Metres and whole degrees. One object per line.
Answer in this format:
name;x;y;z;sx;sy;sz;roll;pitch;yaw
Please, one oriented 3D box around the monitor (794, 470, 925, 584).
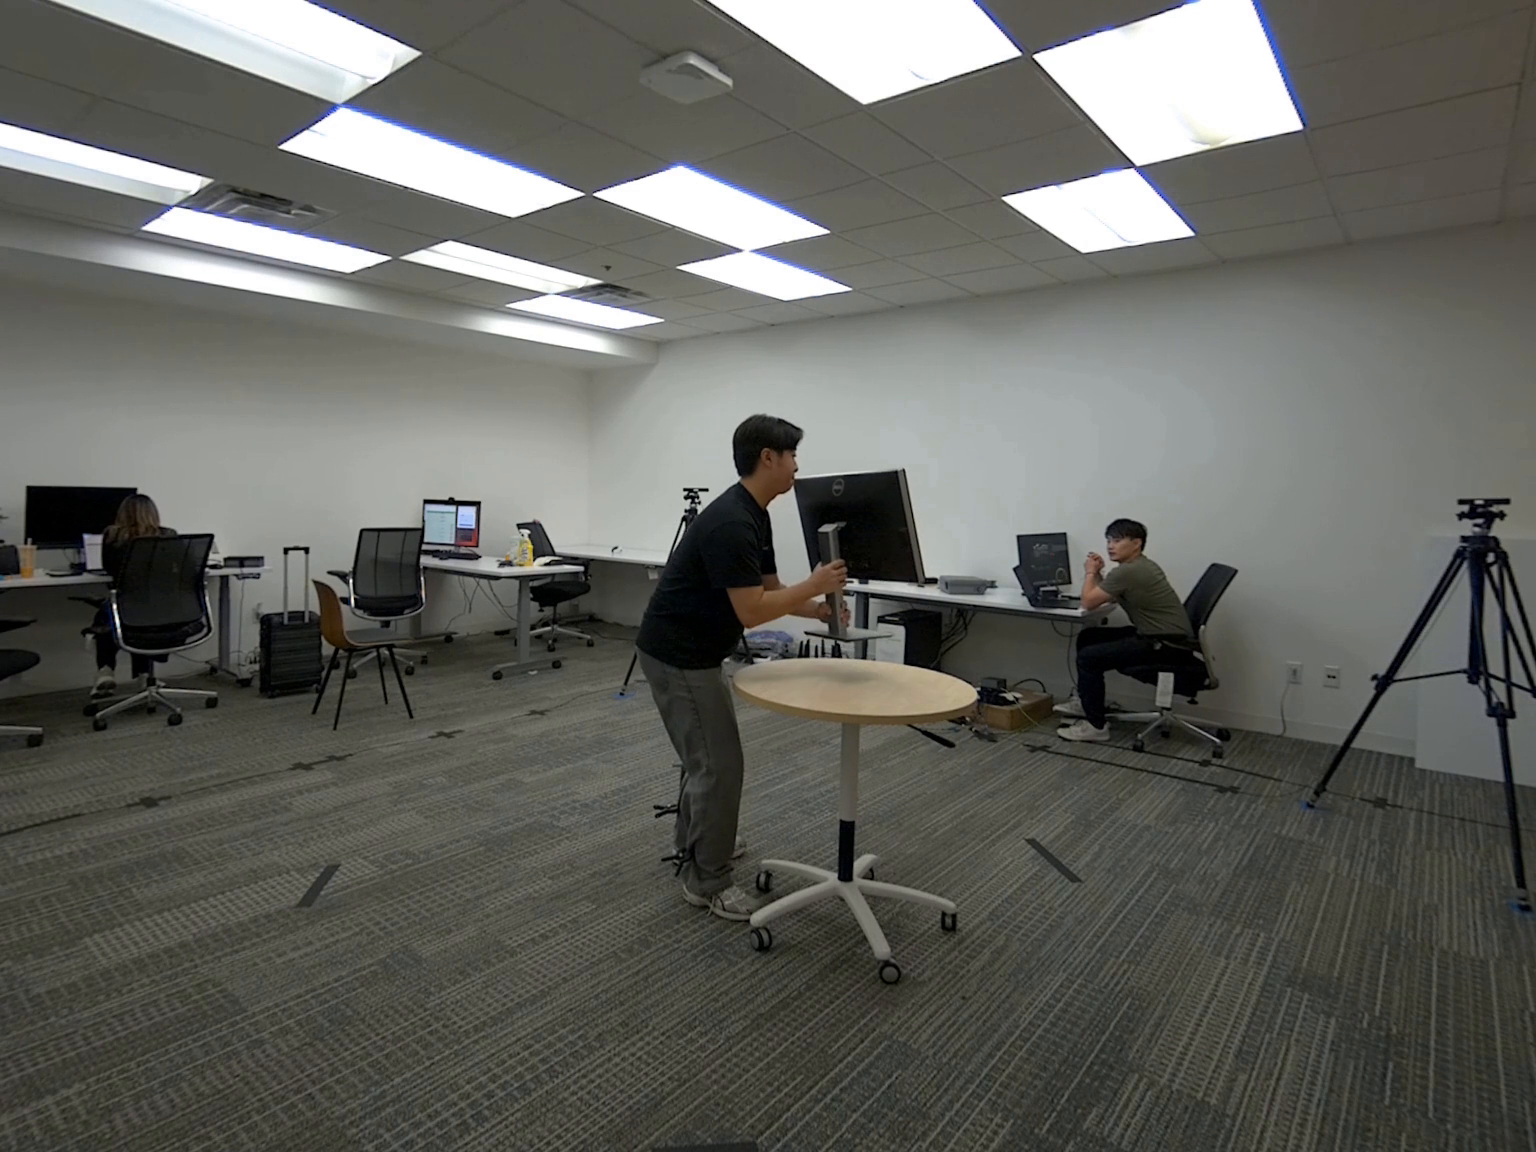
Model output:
monitor;0.253;-0.059;2.823;0.216;0.566;0.578;1;1;-30
